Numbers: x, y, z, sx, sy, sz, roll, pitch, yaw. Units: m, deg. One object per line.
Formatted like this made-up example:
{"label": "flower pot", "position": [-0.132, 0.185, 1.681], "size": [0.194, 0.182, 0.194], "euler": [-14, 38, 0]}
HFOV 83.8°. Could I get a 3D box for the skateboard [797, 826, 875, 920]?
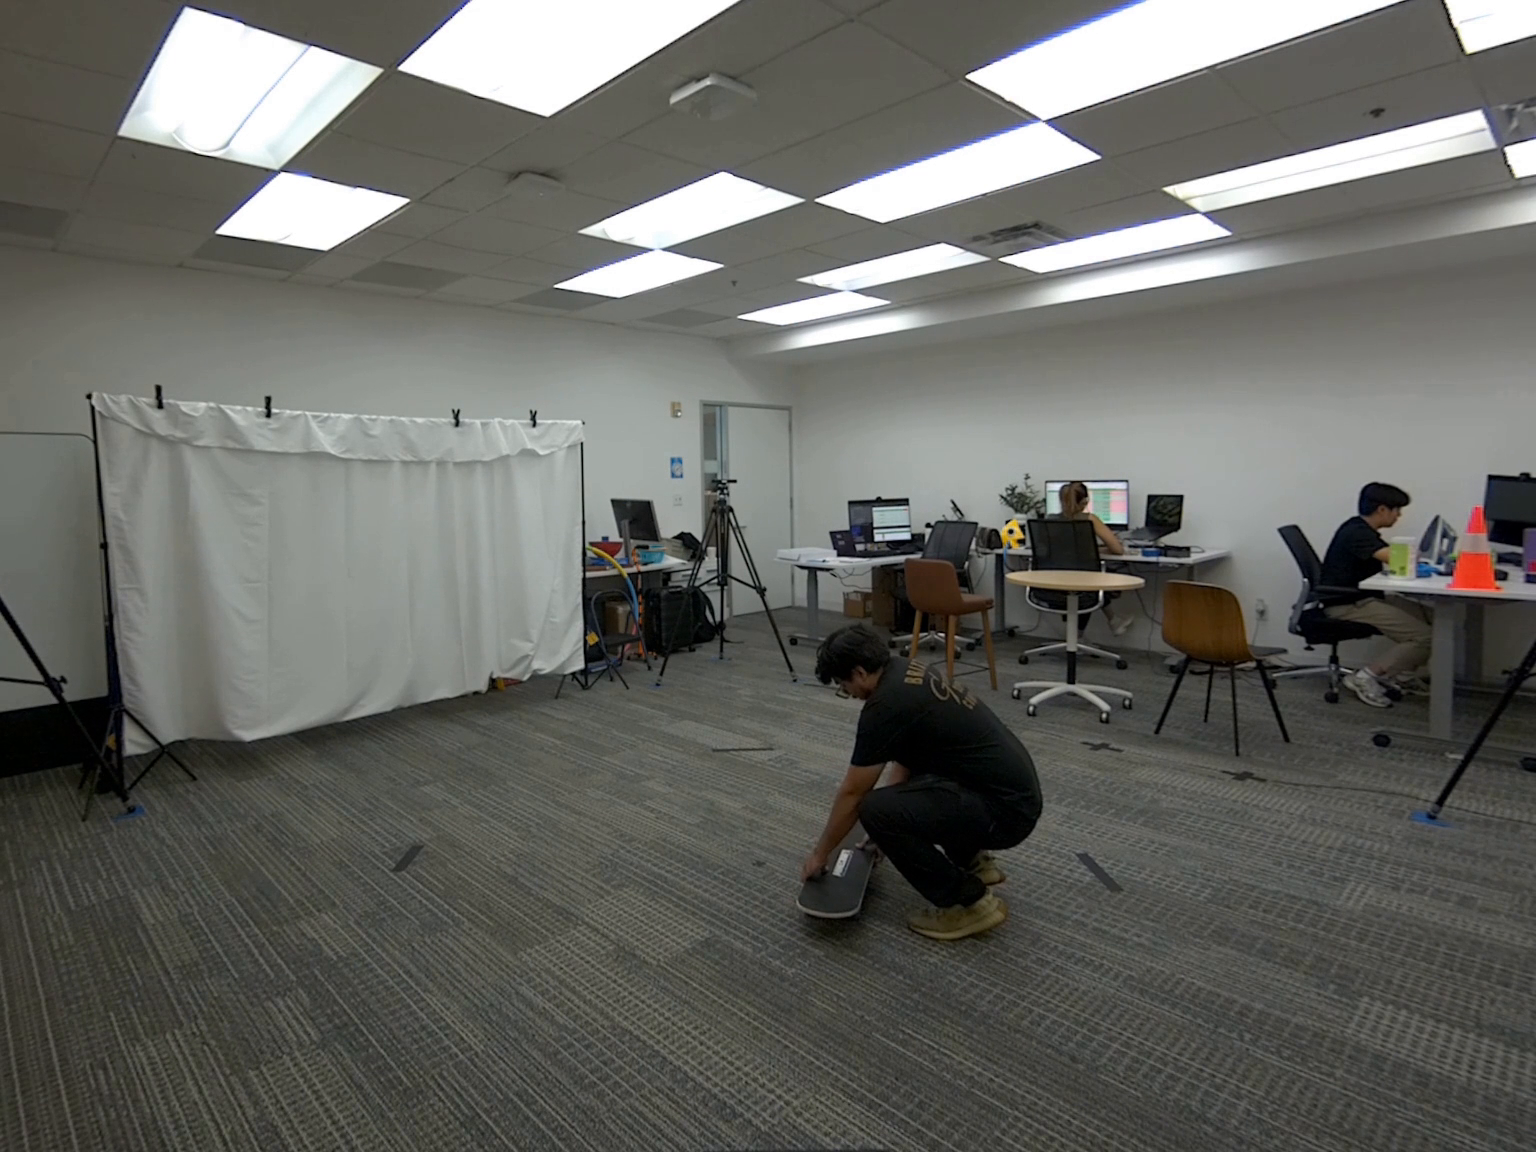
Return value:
{"label": "skateboard", "position": [0.255, 1.006, 2.916], "size": [0.196, 0.110, 0.779], "euler": [0, 7, 12]}
